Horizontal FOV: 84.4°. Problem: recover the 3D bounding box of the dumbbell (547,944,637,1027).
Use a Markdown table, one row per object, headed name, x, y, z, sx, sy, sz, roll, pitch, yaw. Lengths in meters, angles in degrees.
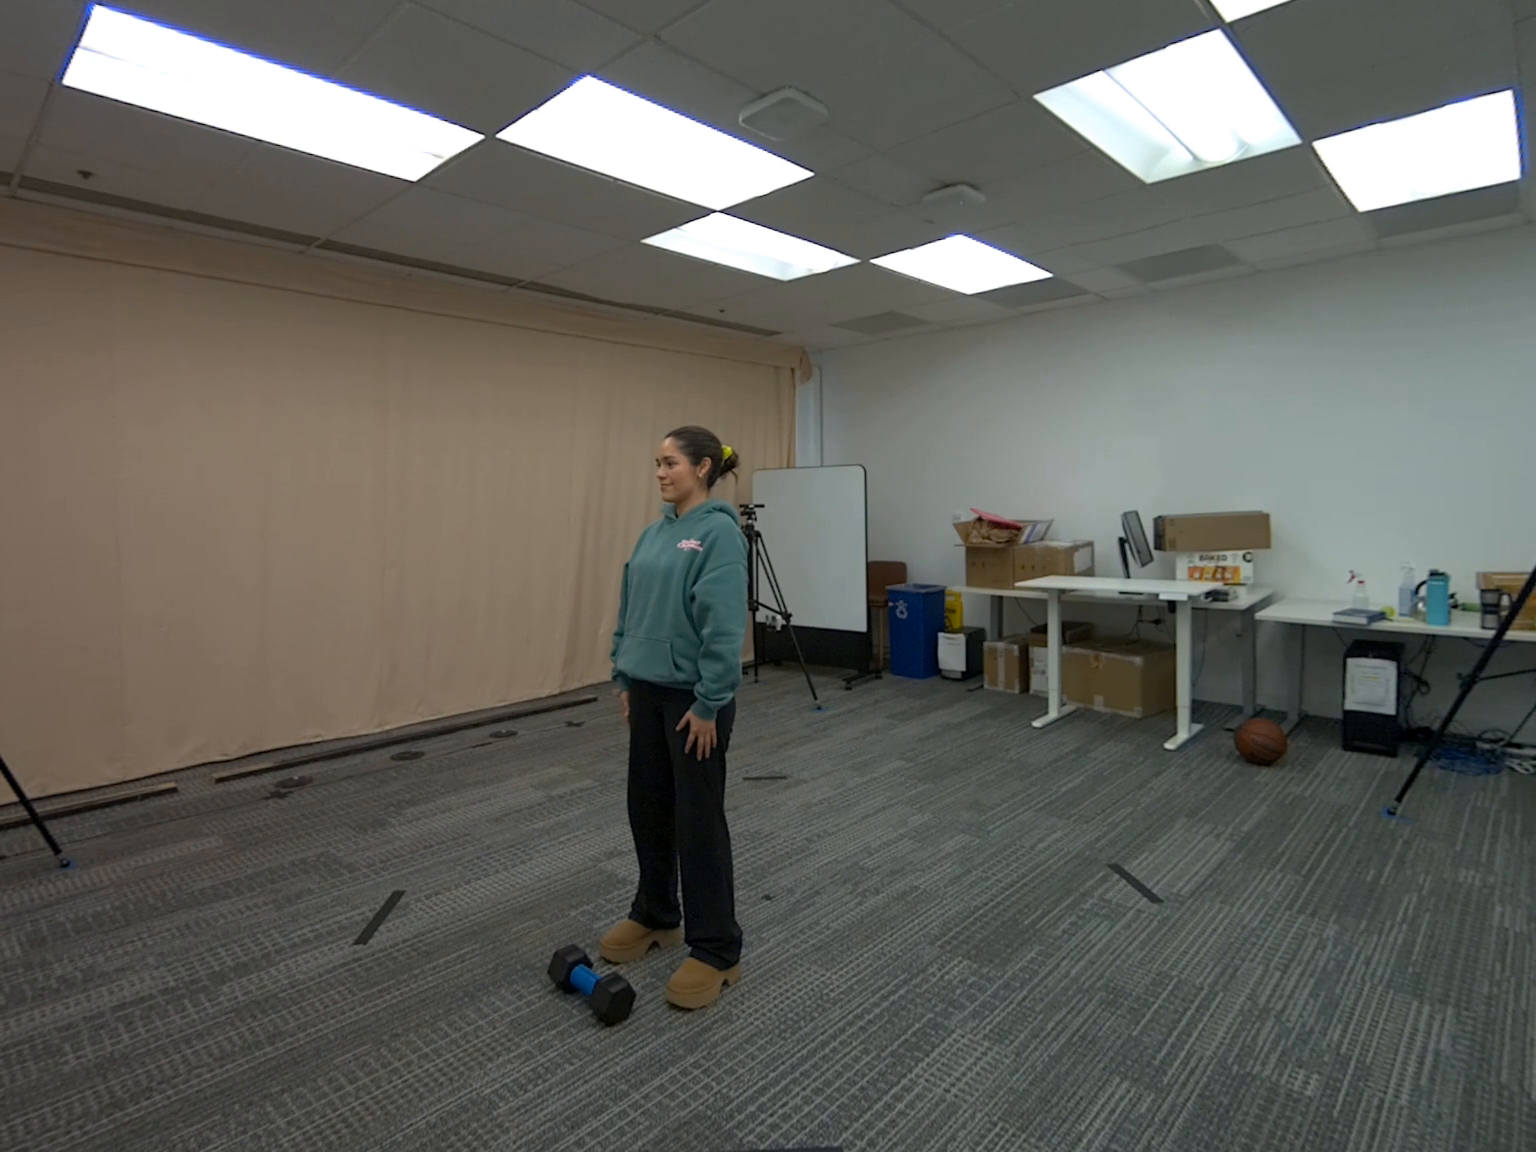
| name | x | y | z | sx | sy | sz | roll | pitch | yaw |
| --- | --- | --- | --- | --- | --- | --- | --- | --- | --- |
| dumbbell | -0.496 | 1.149 | 2.372 | 0.303 | 0.120 | 0.107 | 4 | 38 | 47 |
